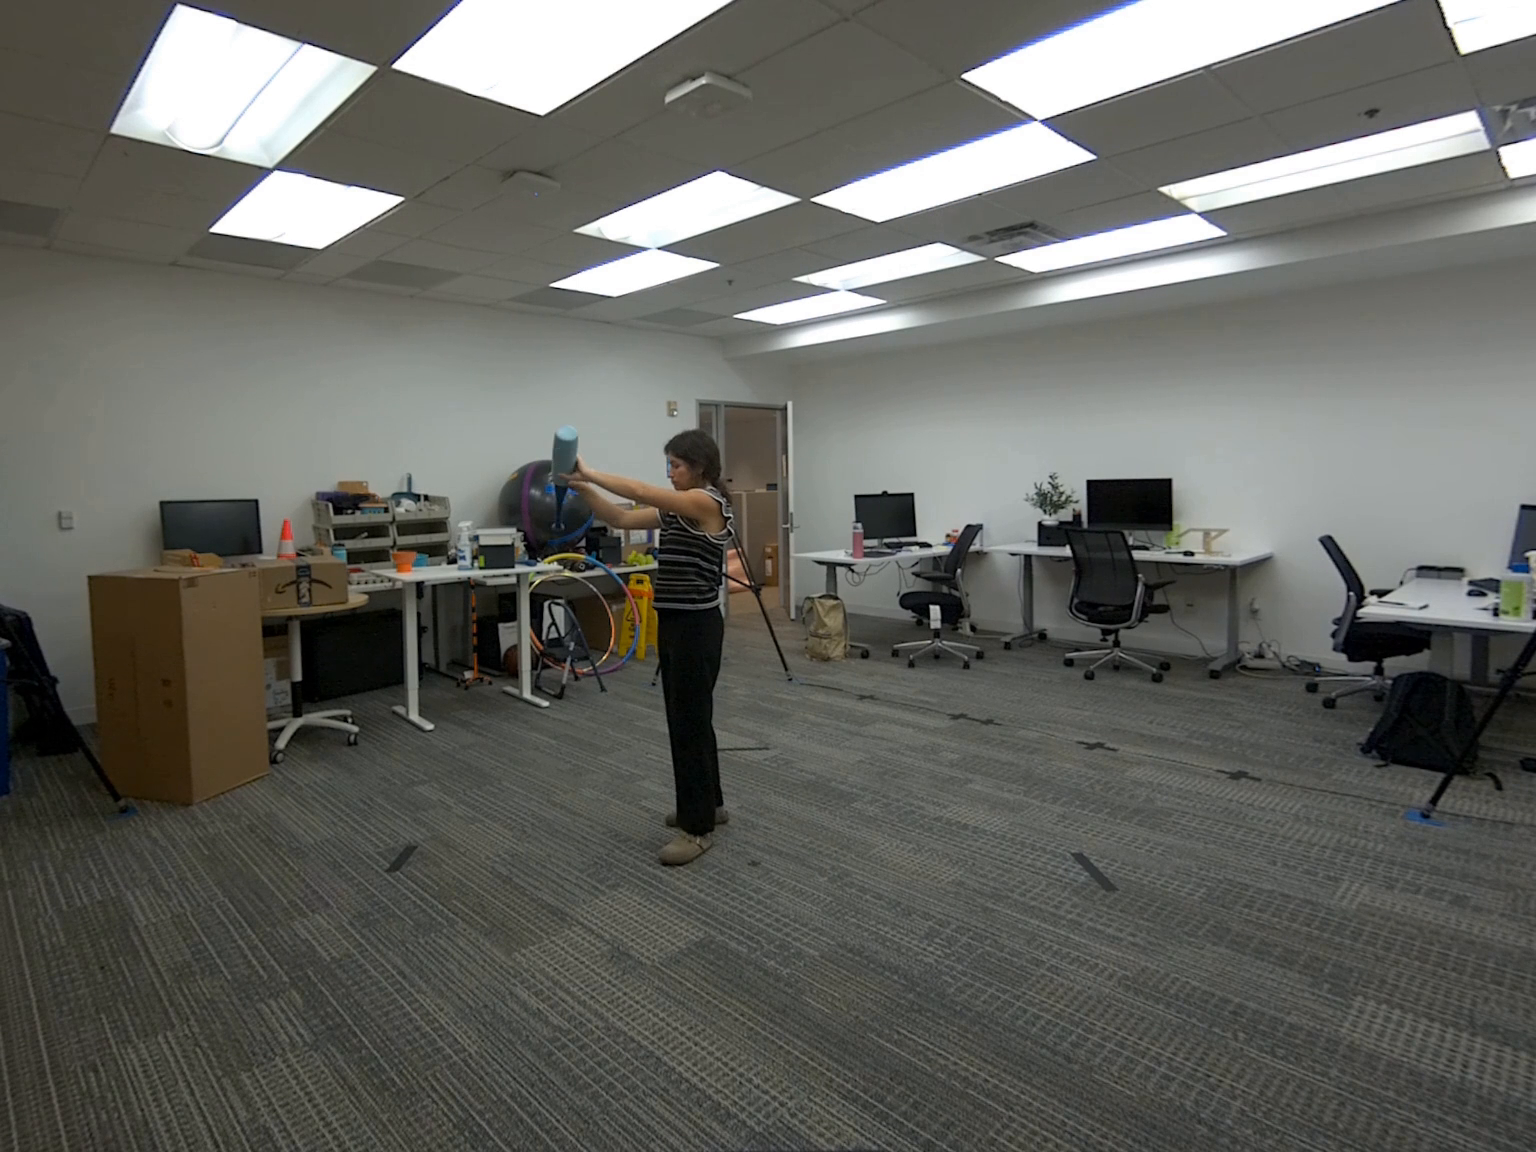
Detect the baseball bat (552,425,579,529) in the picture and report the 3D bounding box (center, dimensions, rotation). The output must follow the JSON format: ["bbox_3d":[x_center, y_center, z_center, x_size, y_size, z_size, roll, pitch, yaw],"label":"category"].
[{"bbox_3d":[-0.792,-0.350,3.259,0.087,0.092,0.534,-2,-38,-19],"label":"baseball bat"}]
